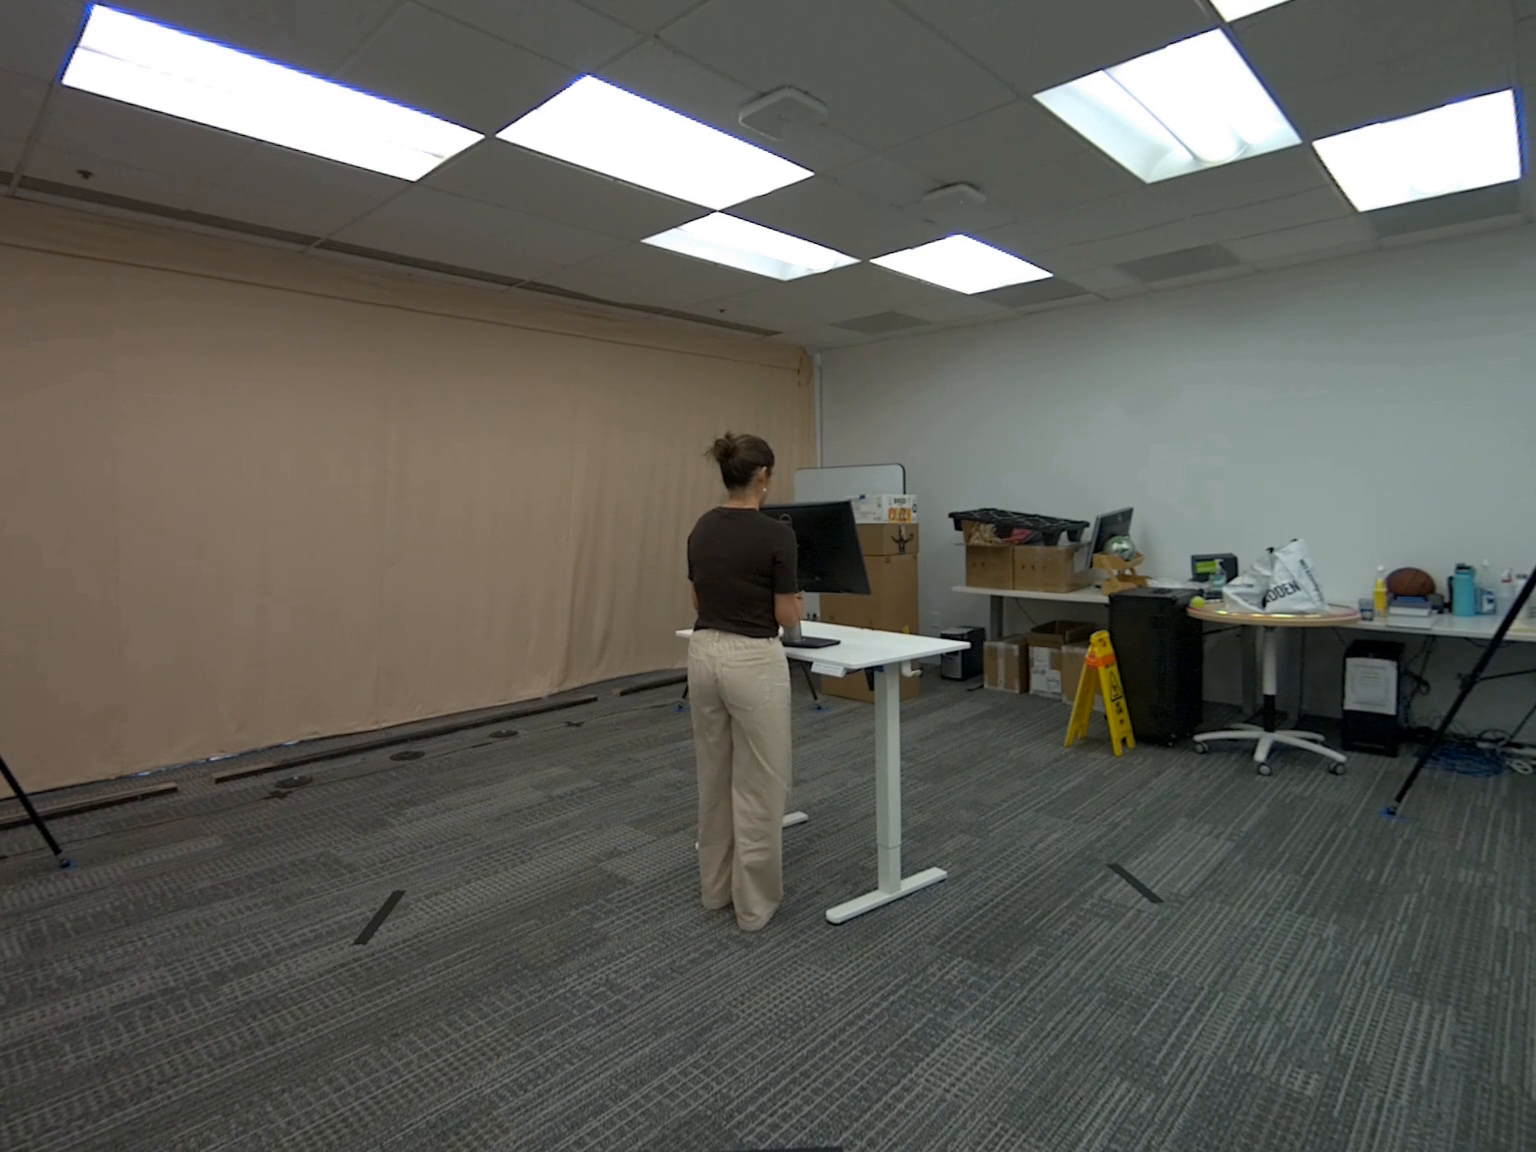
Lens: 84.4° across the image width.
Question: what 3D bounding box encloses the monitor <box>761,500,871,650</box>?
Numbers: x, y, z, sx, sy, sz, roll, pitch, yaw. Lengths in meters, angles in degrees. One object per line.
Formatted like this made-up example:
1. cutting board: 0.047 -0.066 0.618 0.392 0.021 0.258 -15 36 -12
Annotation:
1. monitor: 0.102 -0.005 3.066 0.556 0.521 0.182 0 6 39
